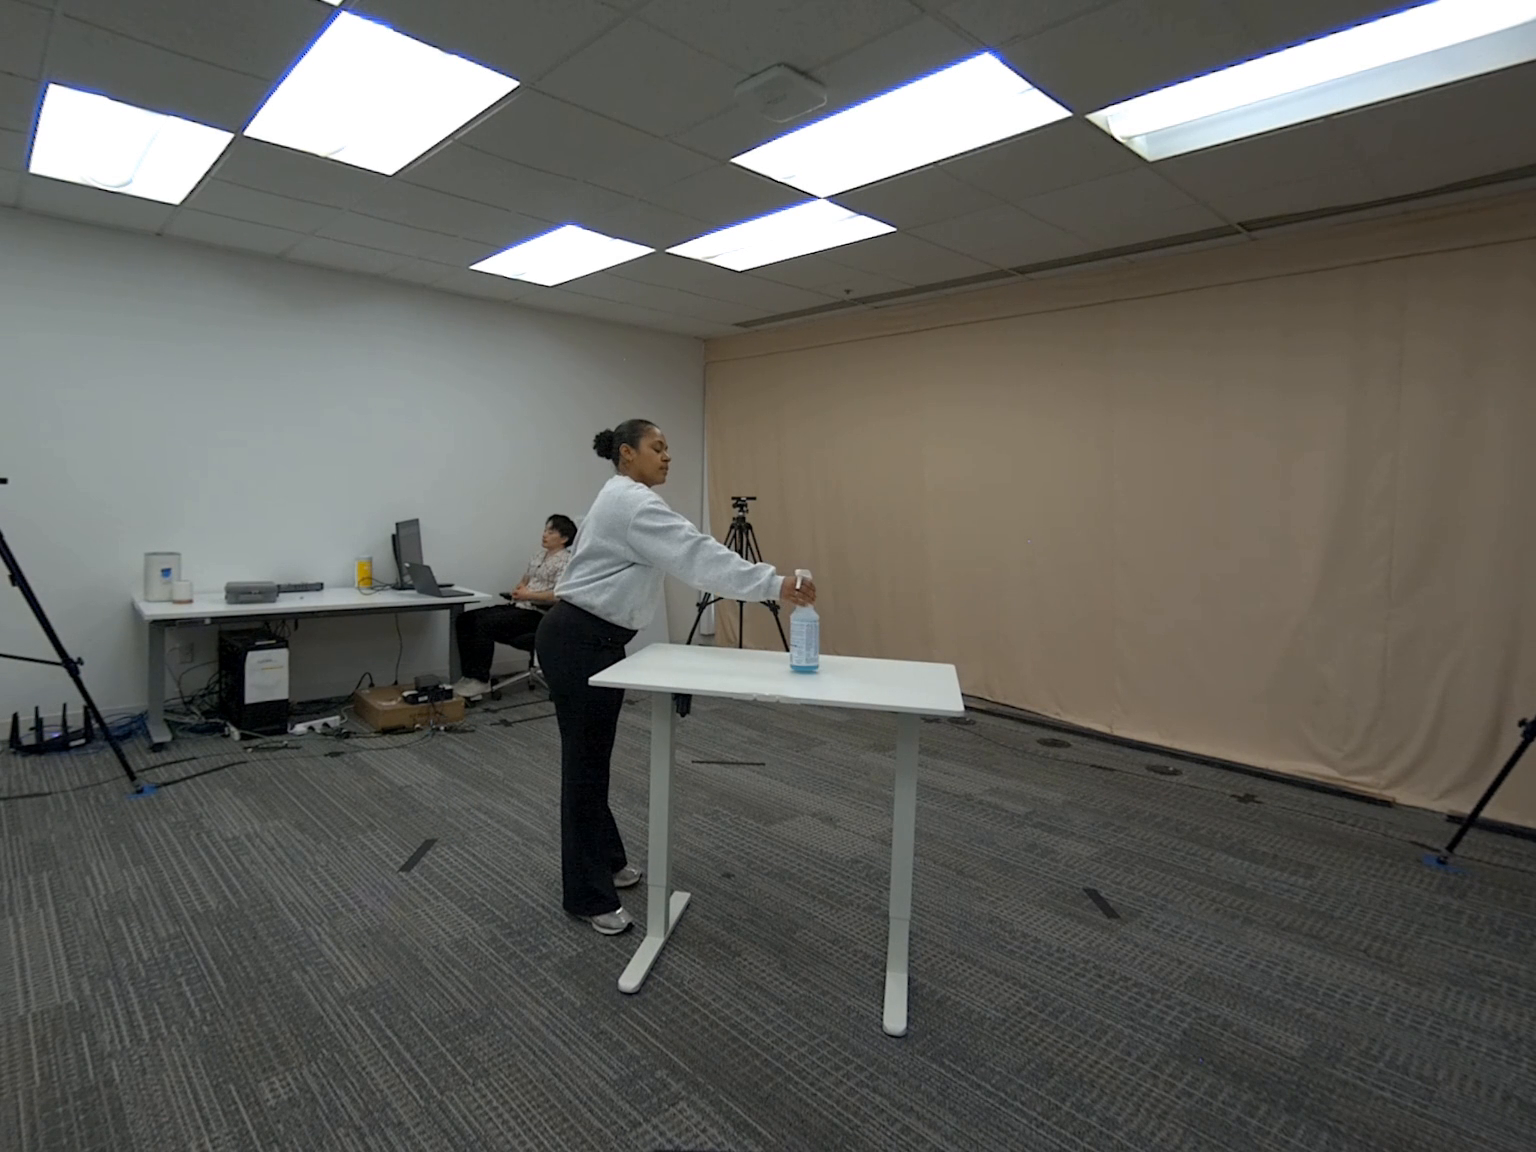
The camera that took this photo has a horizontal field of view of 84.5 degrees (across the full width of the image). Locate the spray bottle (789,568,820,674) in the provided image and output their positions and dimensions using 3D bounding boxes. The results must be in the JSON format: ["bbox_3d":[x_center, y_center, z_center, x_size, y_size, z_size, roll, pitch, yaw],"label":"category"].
[{"bbox_3d":[0.096,0.124,2.496,0.088,0.297,0.089,-1,1,-35],"label":"spray bottle"}]
